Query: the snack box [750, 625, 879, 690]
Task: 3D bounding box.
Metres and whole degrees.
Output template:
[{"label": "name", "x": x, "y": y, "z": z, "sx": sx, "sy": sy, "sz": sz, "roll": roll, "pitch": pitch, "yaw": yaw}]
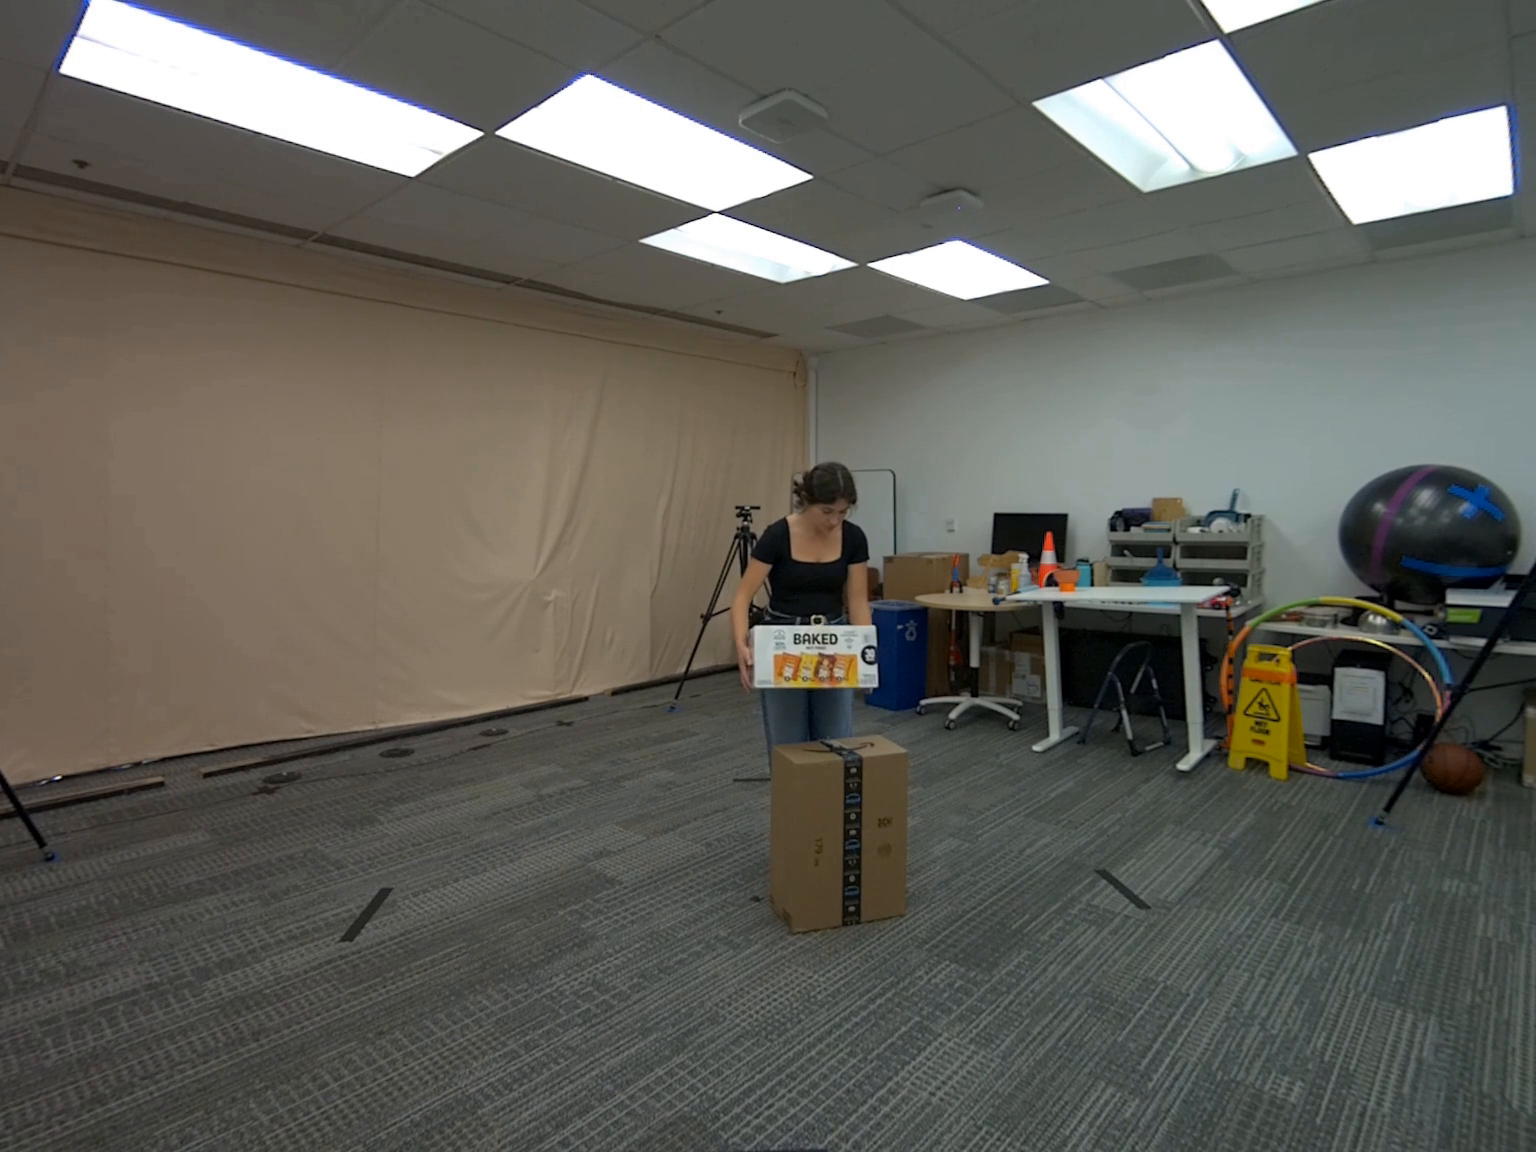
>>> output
[{"label": "snack box", "x": 0.140, "y": 0.284, "z": 2.903, "sx": 0.403, "sy": 0.207, "sz": 0.340, "roll": 0, "pitch": -9, "yaw": -5}]
